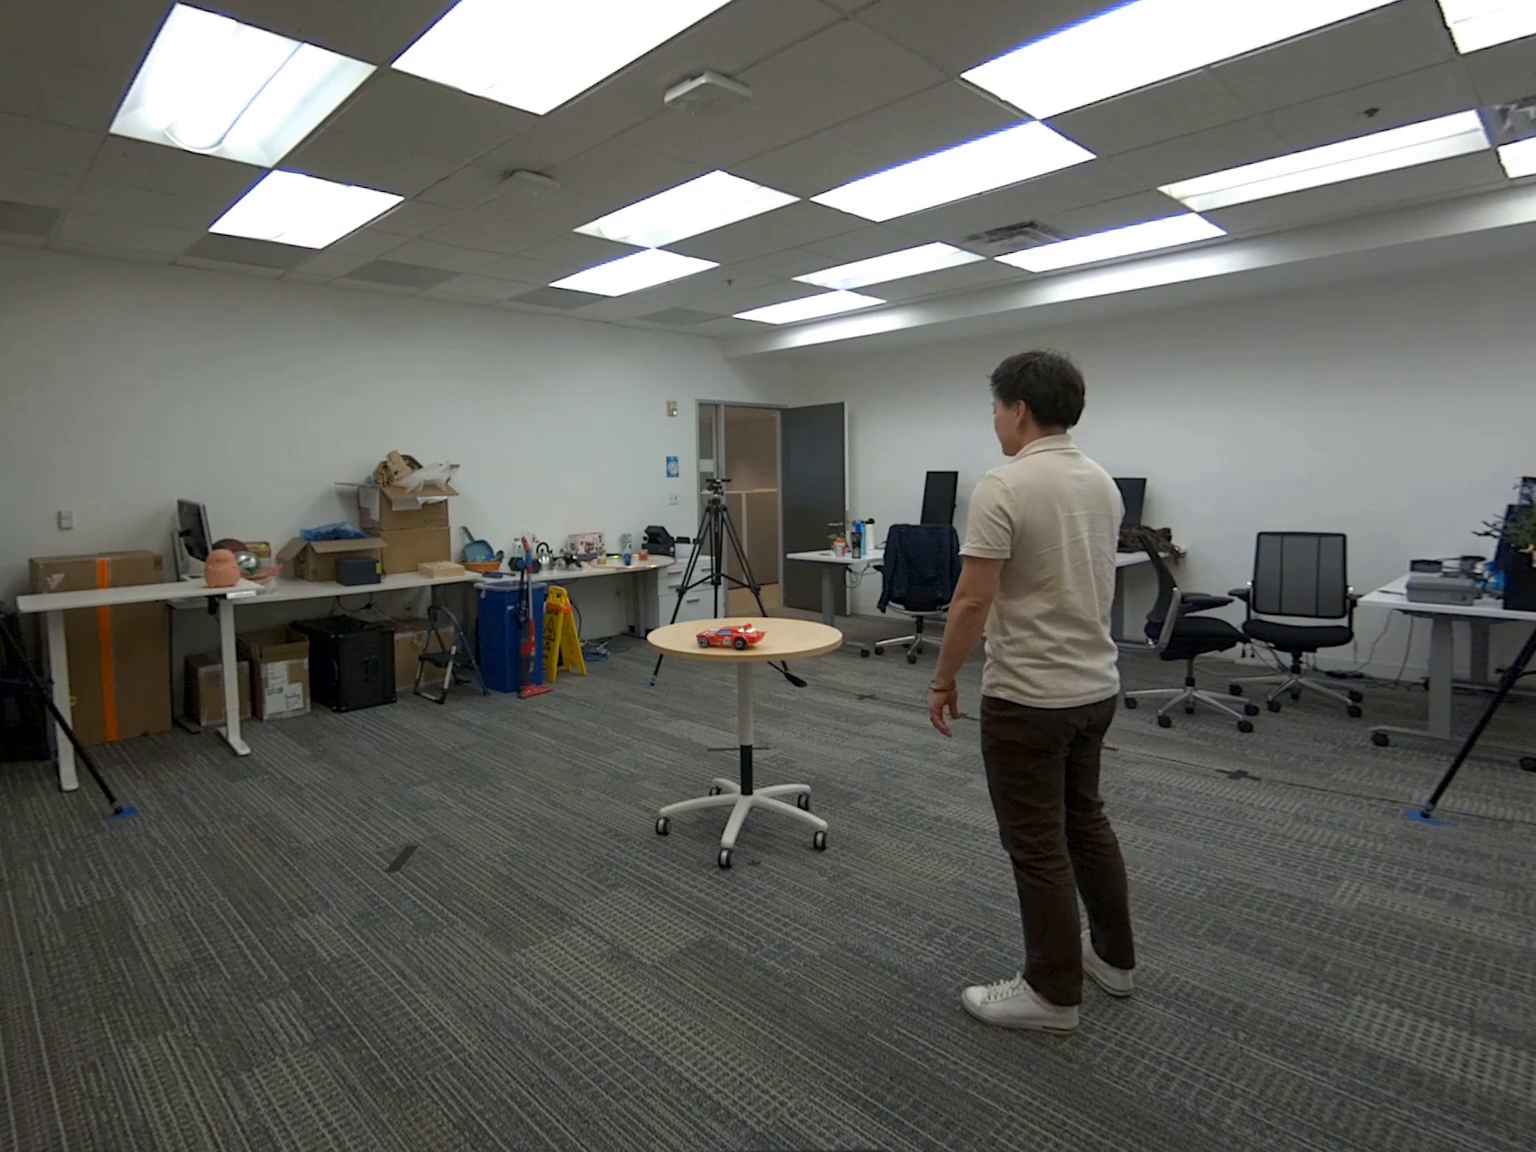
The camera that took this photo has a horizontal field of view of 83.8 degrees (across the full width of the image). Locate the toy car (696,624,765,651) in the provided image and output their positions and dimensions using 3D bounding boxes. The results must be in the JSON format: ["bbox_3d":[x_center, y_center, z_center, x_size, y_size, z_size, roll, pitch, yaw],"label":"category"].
[{"bbox_3d":[-0.130,0.228,3.130,0.259,0.083,0.128,-11,1,23],"label":"toy car"}]
